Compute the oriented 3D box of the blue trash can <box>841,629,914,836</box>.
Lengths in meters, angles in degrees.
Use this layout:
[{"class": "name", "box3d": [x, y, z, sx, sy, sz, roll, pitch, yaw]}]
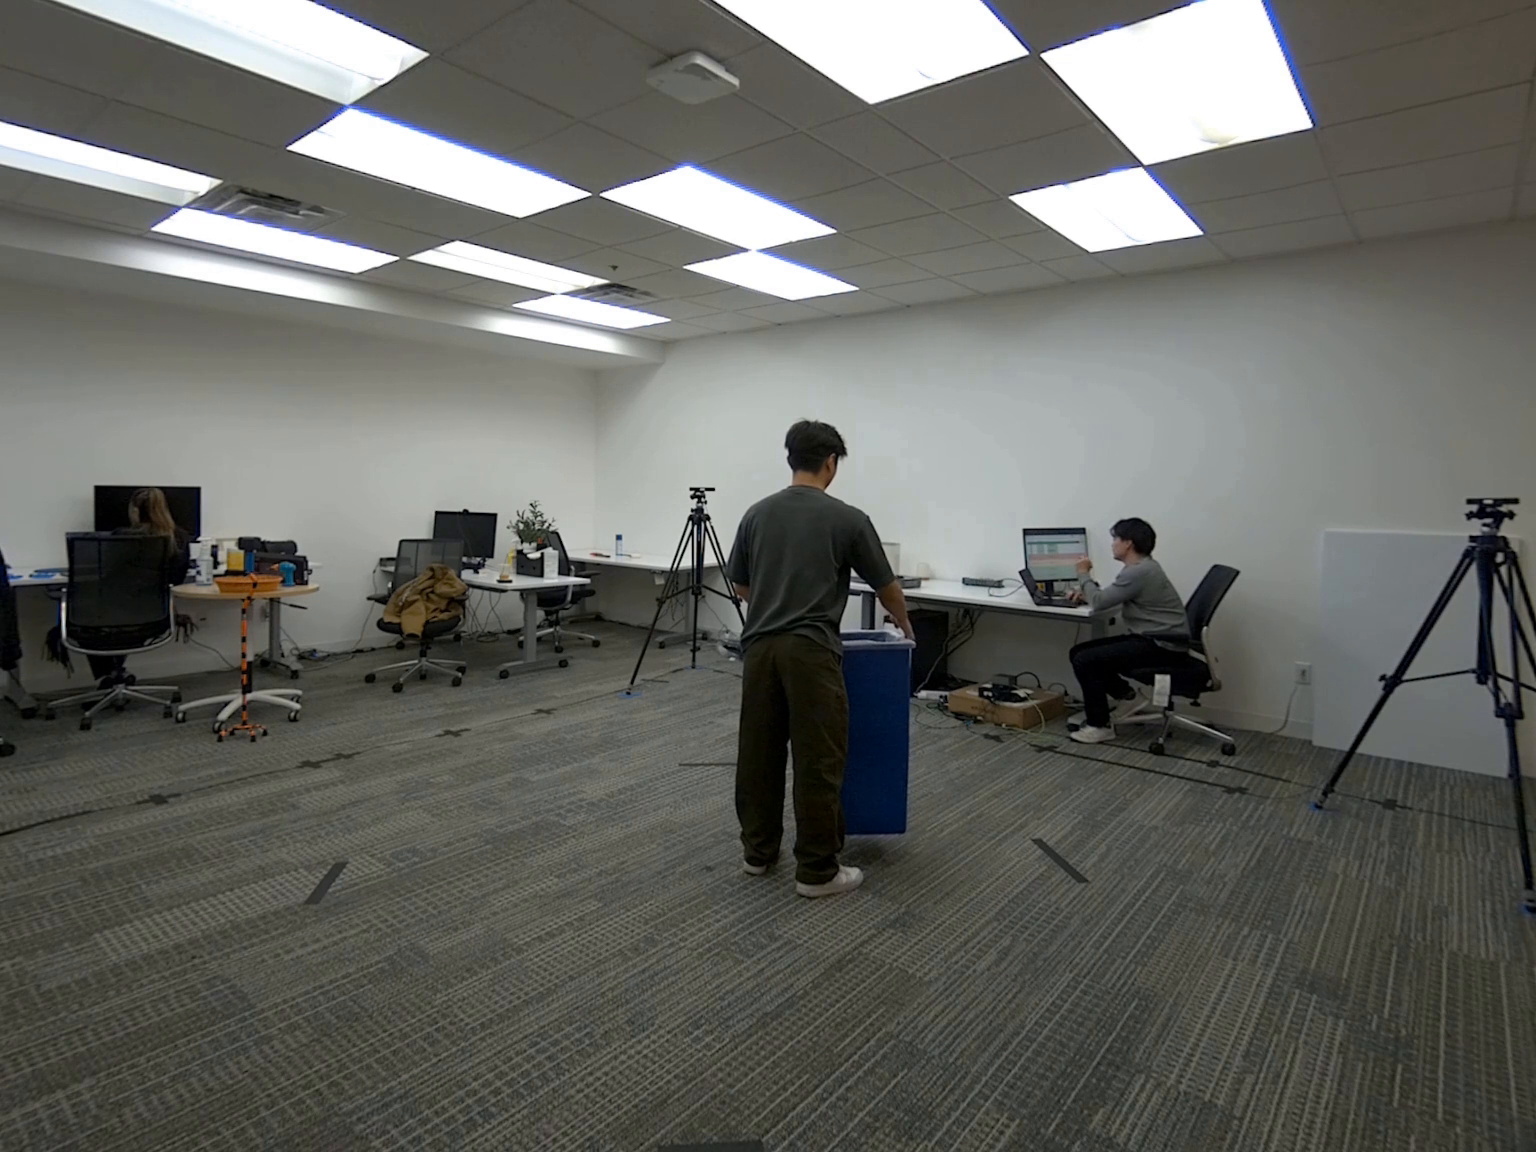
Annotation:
[{"class": "blue trash can", "box3d": [0.339, 0.588, 3.287, 0.375, 0.713, 0.378, 0, 1, 1]}]
